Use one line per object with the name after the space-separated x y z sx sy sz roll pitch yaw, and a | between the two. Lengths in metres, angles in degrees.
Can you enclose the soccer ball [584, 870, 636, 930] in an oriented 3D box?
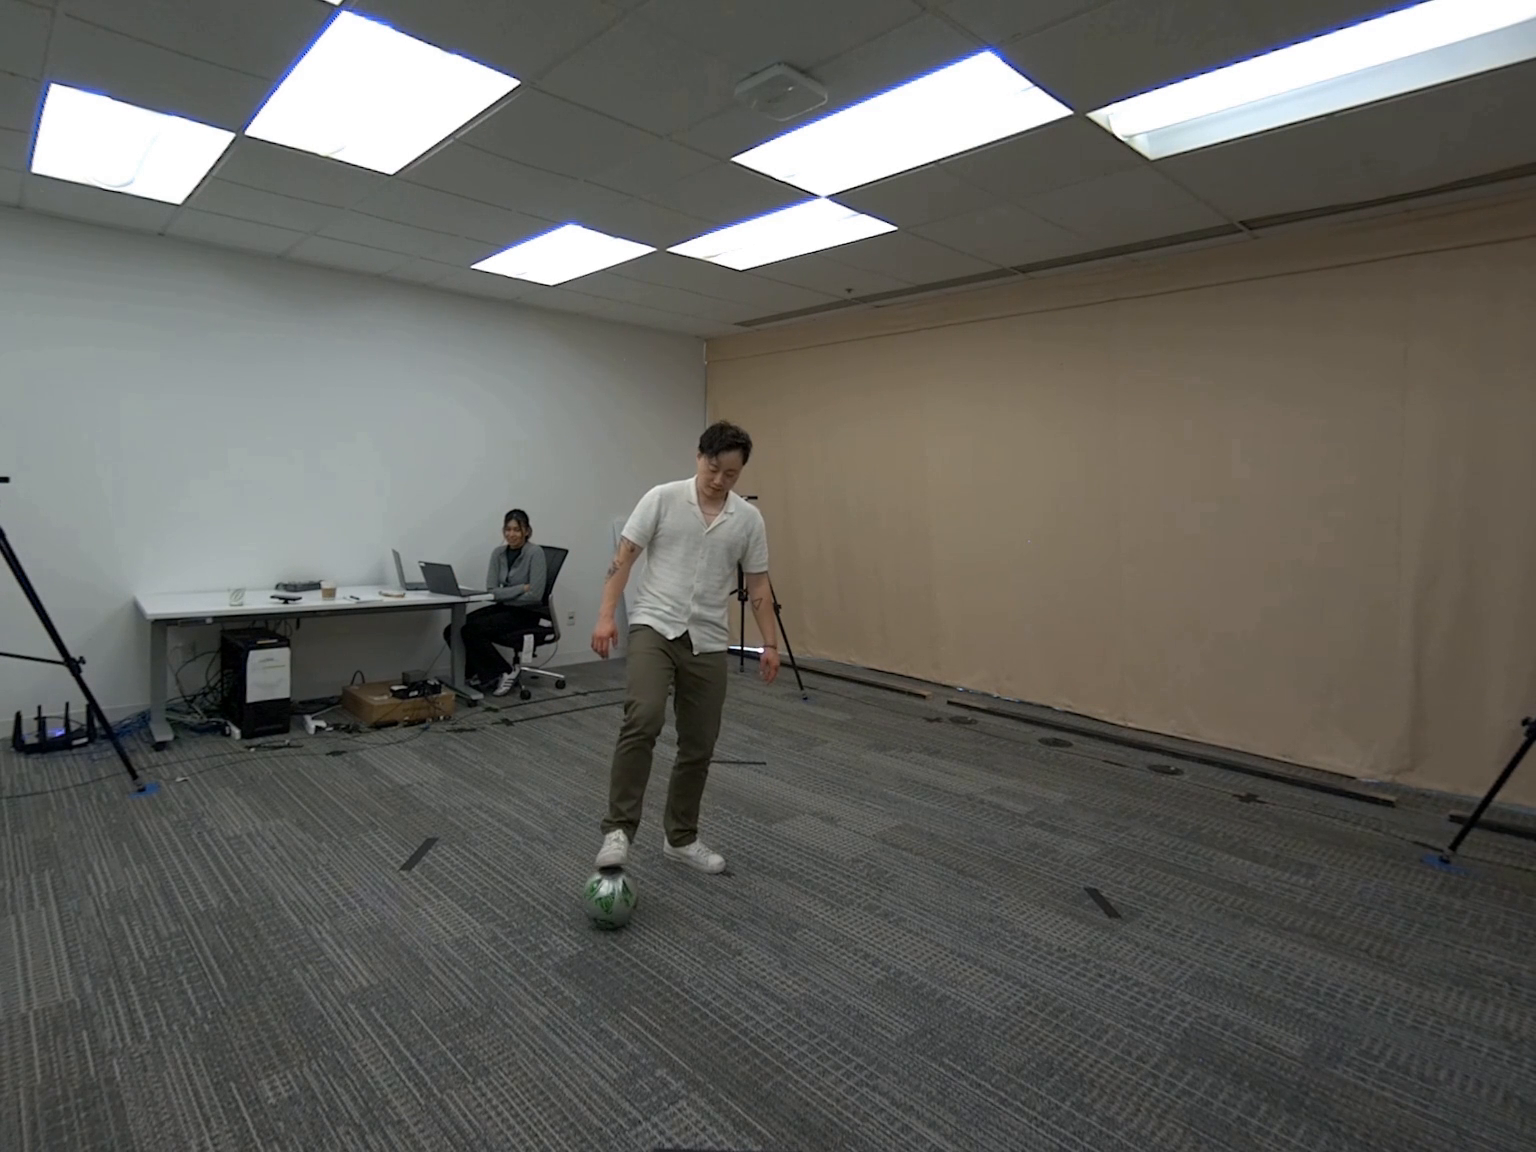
-0.513 1.034 2.723 0.187 0.187 0.188 1 4 -1 | soccer ball
